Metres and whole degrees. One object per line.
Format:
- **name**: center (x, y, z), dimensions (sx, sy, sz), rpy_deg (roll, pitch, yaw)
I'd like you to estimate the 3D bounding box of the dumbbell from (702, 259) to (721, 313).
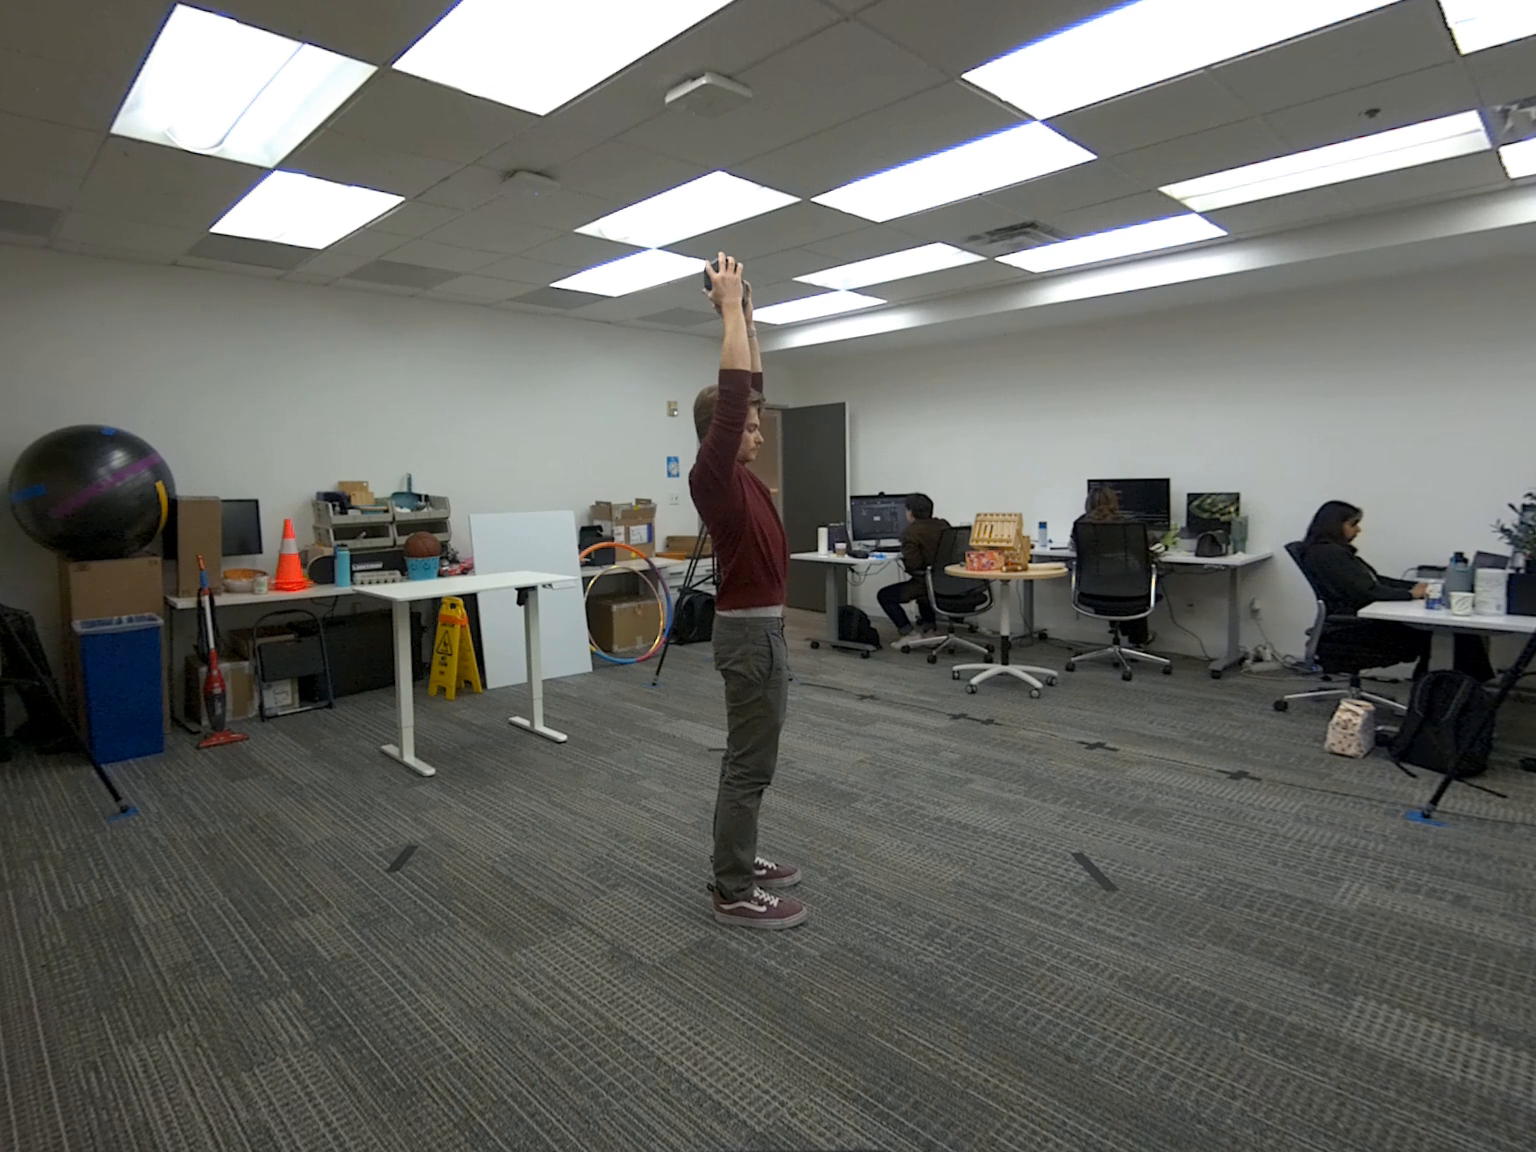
- **dumbbell**: center (-0.126, -0.925, 2.739), dimensions (0.123, 0.108, 0.293), rpy_deg (-31, 3, 7)
